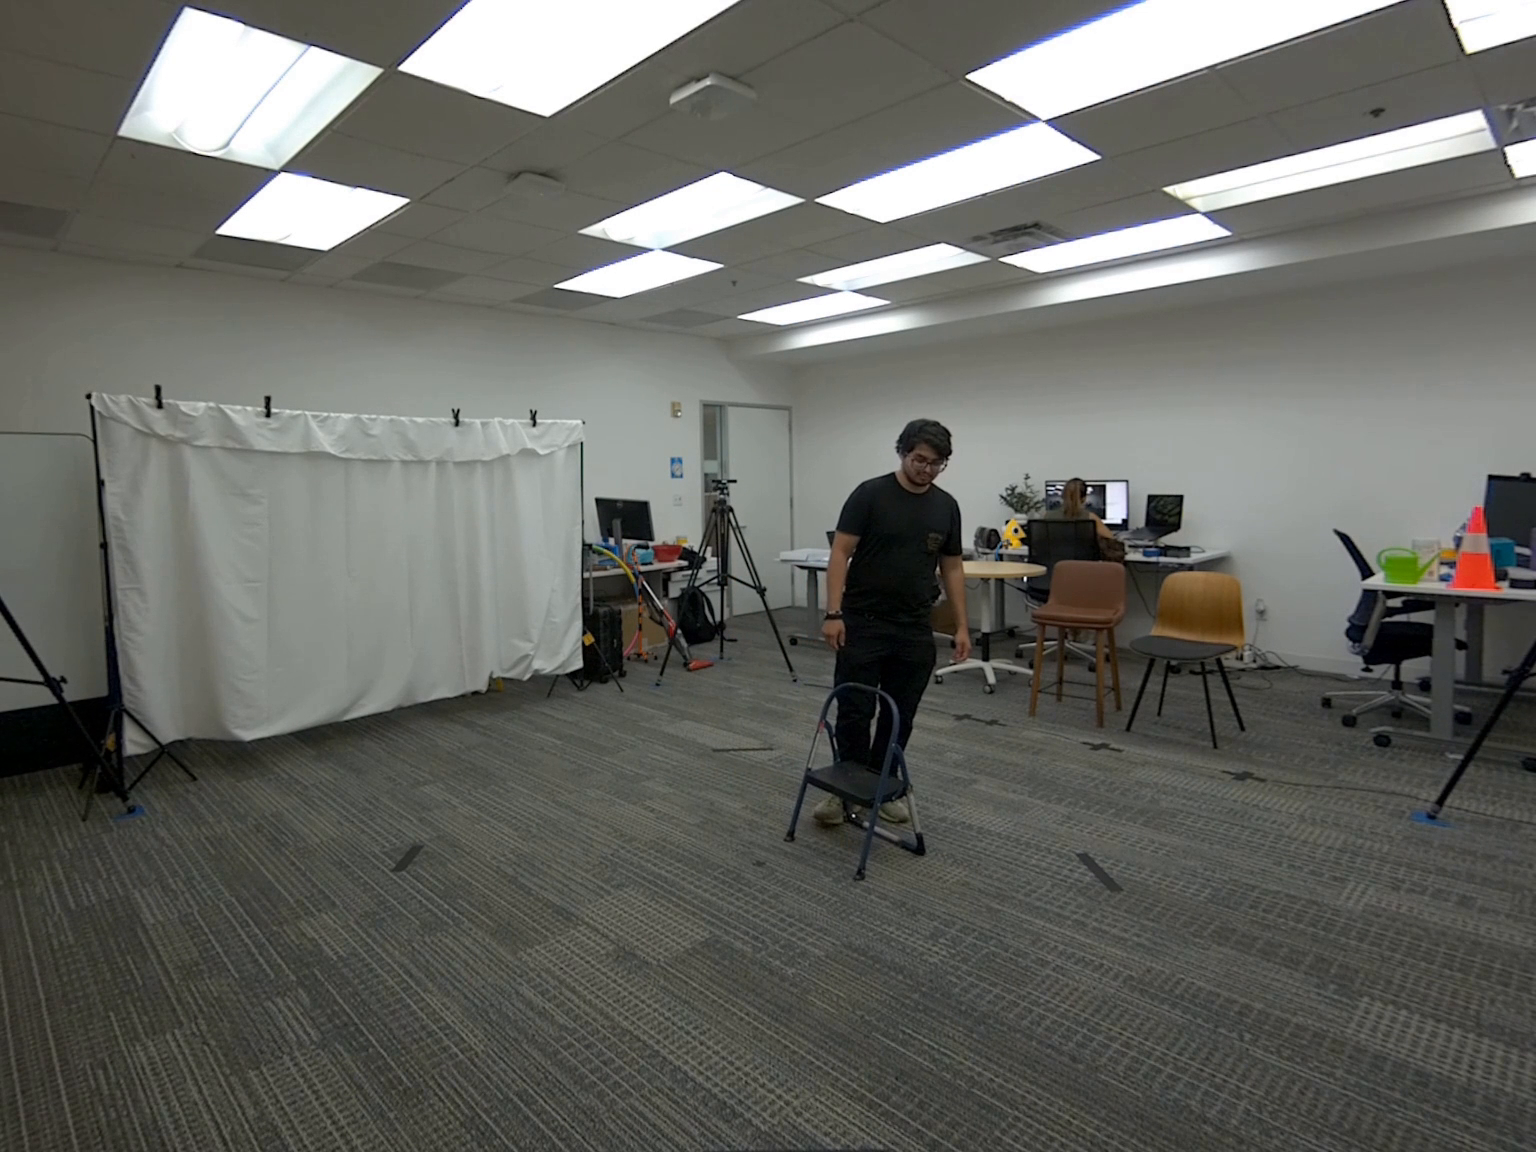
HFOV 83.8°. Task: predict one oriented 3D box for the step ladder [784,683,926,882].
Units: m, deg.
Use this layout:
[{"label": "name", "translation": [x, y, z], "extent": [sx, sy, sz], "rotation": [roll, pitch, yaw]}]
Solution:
[{"label": "step ladder", "translation": [0.321, 0.728, 3.210], "extent": [0.340, 0.604, 0.443], "rotation": [-3, 5, -35]}]
